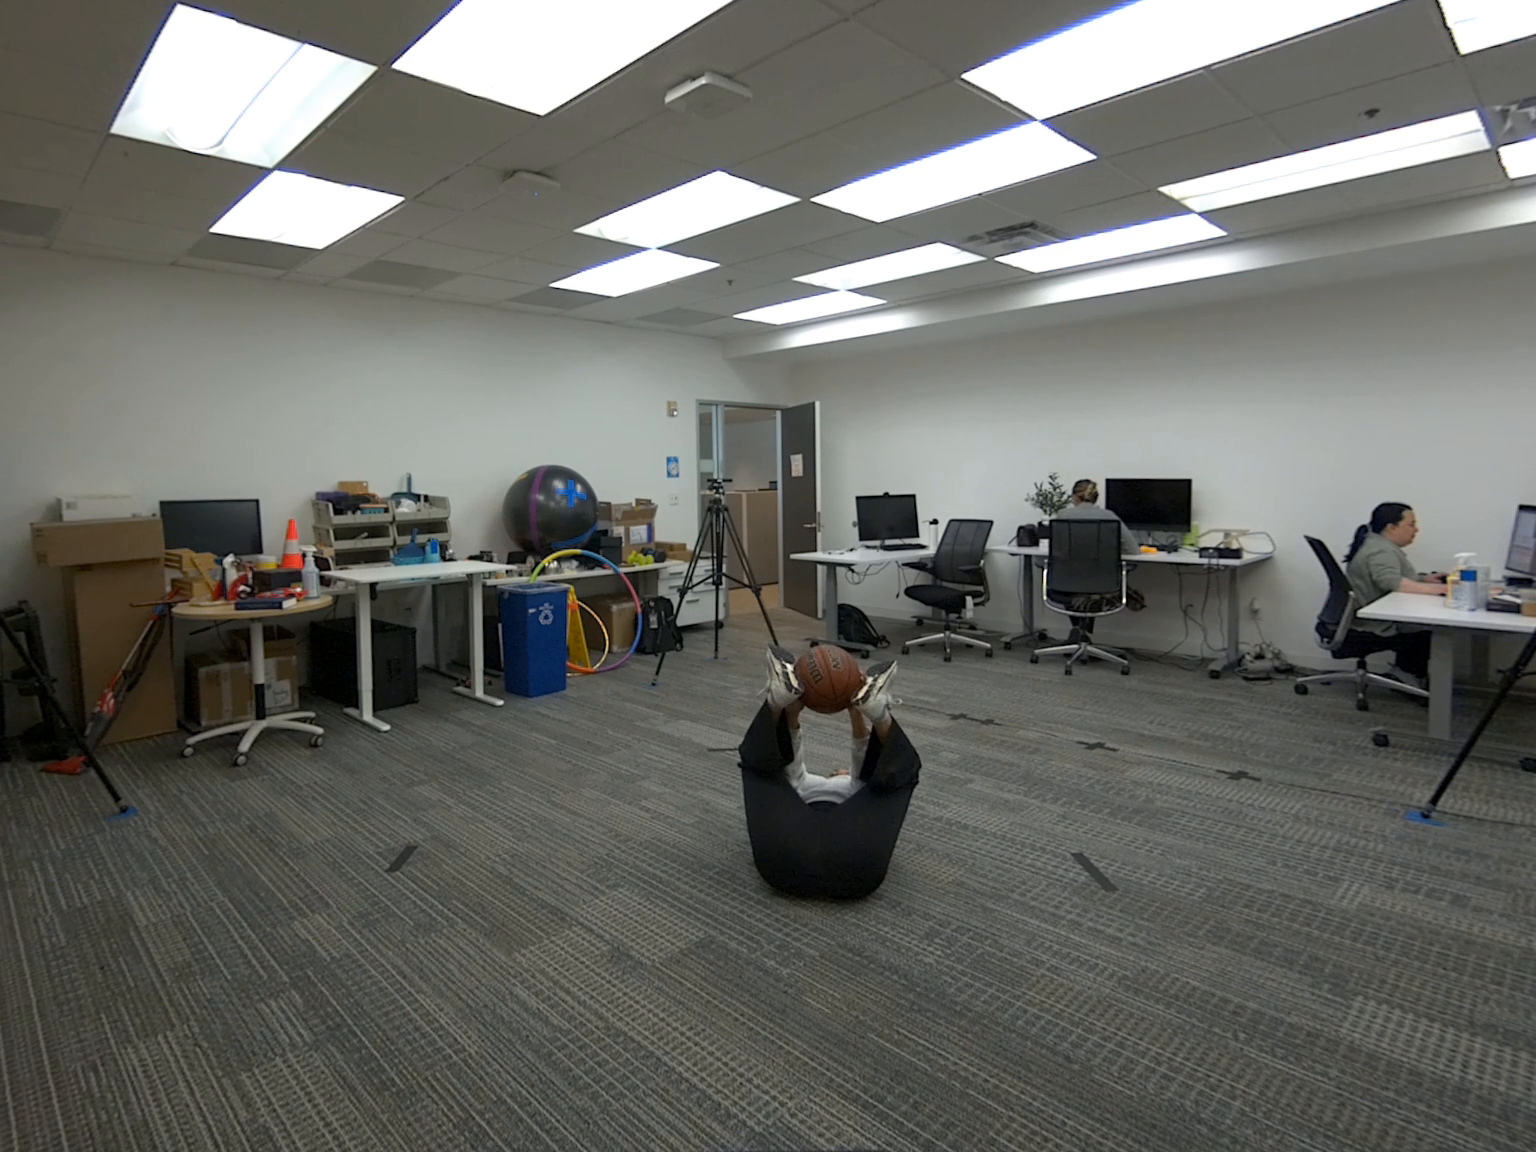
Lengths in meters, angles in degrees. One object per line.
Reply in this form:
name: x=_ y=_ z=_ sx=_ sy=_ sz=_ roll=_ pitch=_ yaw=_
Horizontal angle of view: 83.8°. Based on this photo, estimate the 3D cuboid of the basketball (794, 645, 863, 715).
basketball: x=0.207 y=0.359 z=2.993 sx=0.236 sy=0.235 sz=0.236 roll=-4 pitch=2 yaw=-2
